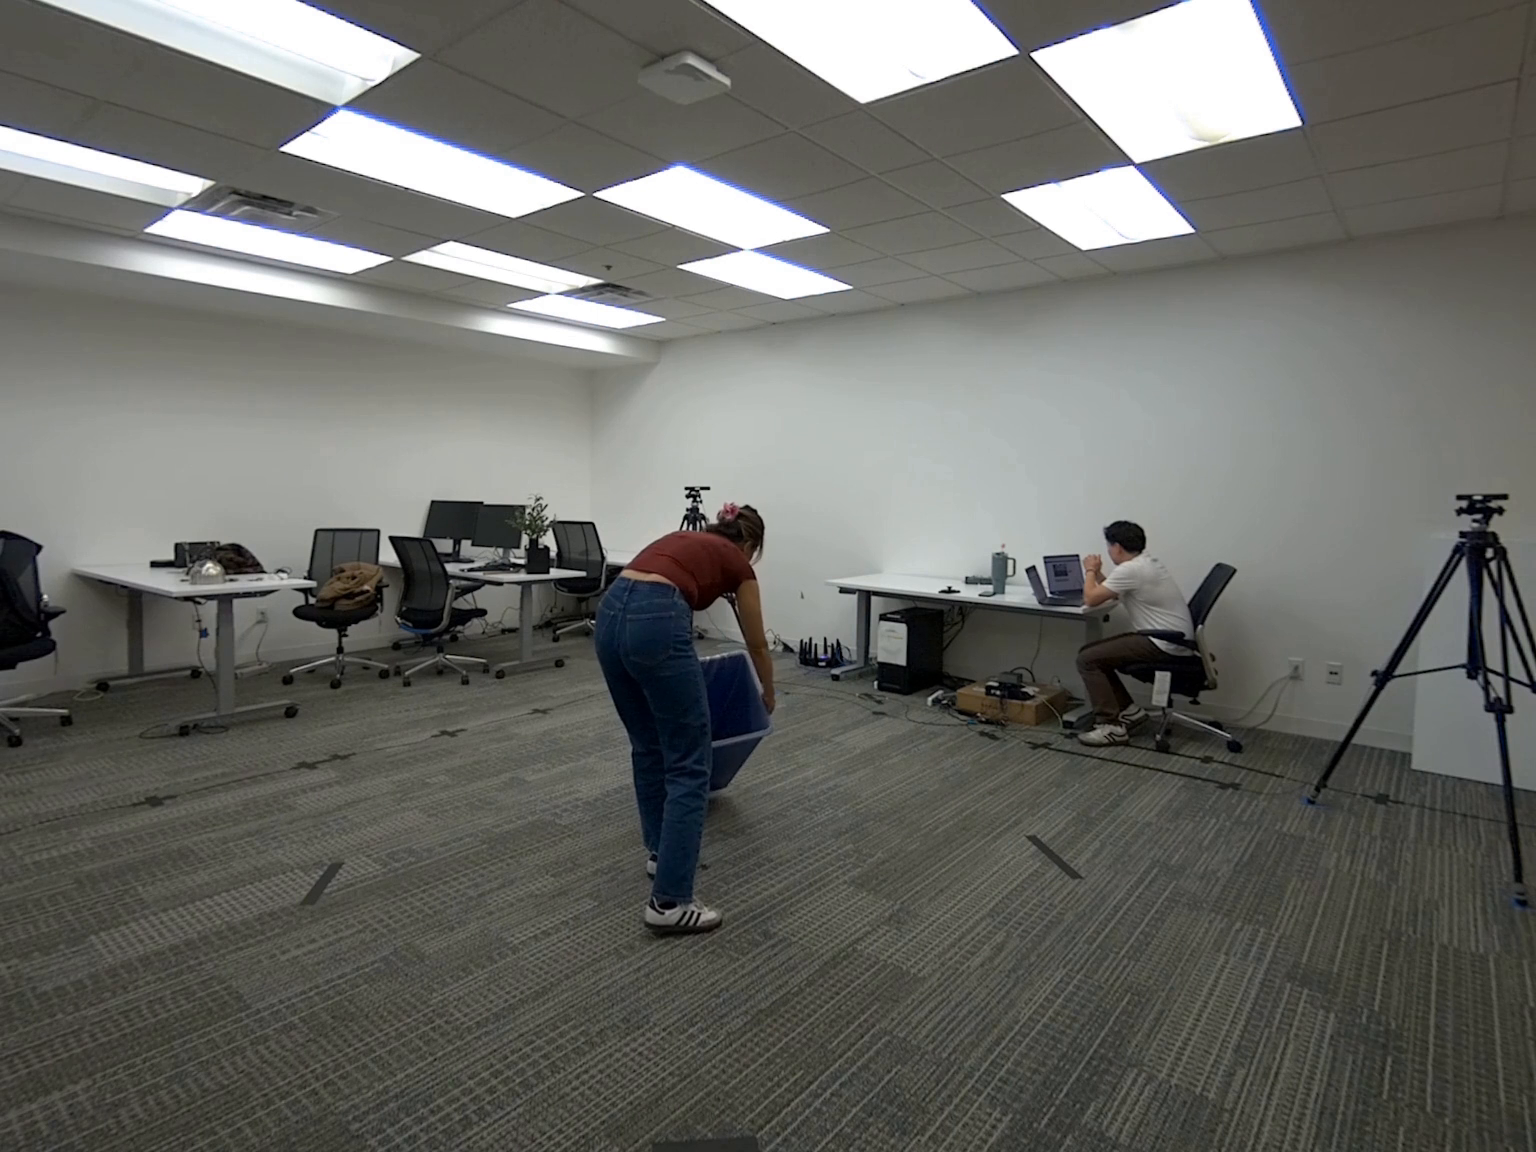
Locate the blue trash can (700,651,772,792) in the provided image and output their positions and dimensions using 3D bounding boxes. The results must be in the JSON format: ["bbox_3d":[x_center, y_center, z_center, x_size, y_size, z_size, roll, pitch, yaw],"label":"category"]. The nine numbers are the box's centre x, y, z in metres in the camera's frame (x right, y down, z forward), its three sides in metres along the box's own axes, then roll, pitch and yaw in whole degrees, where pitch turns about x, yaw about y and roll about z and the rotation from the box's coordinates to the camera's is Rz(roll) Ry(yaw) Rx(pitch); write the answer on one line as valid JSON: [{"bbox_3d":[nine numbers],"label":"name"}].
[{"bbox_3d":[-0.277,0.673,3.610,0.372,0.387,0.702,-7,-32,-19],"label":"blue trash can"}]
